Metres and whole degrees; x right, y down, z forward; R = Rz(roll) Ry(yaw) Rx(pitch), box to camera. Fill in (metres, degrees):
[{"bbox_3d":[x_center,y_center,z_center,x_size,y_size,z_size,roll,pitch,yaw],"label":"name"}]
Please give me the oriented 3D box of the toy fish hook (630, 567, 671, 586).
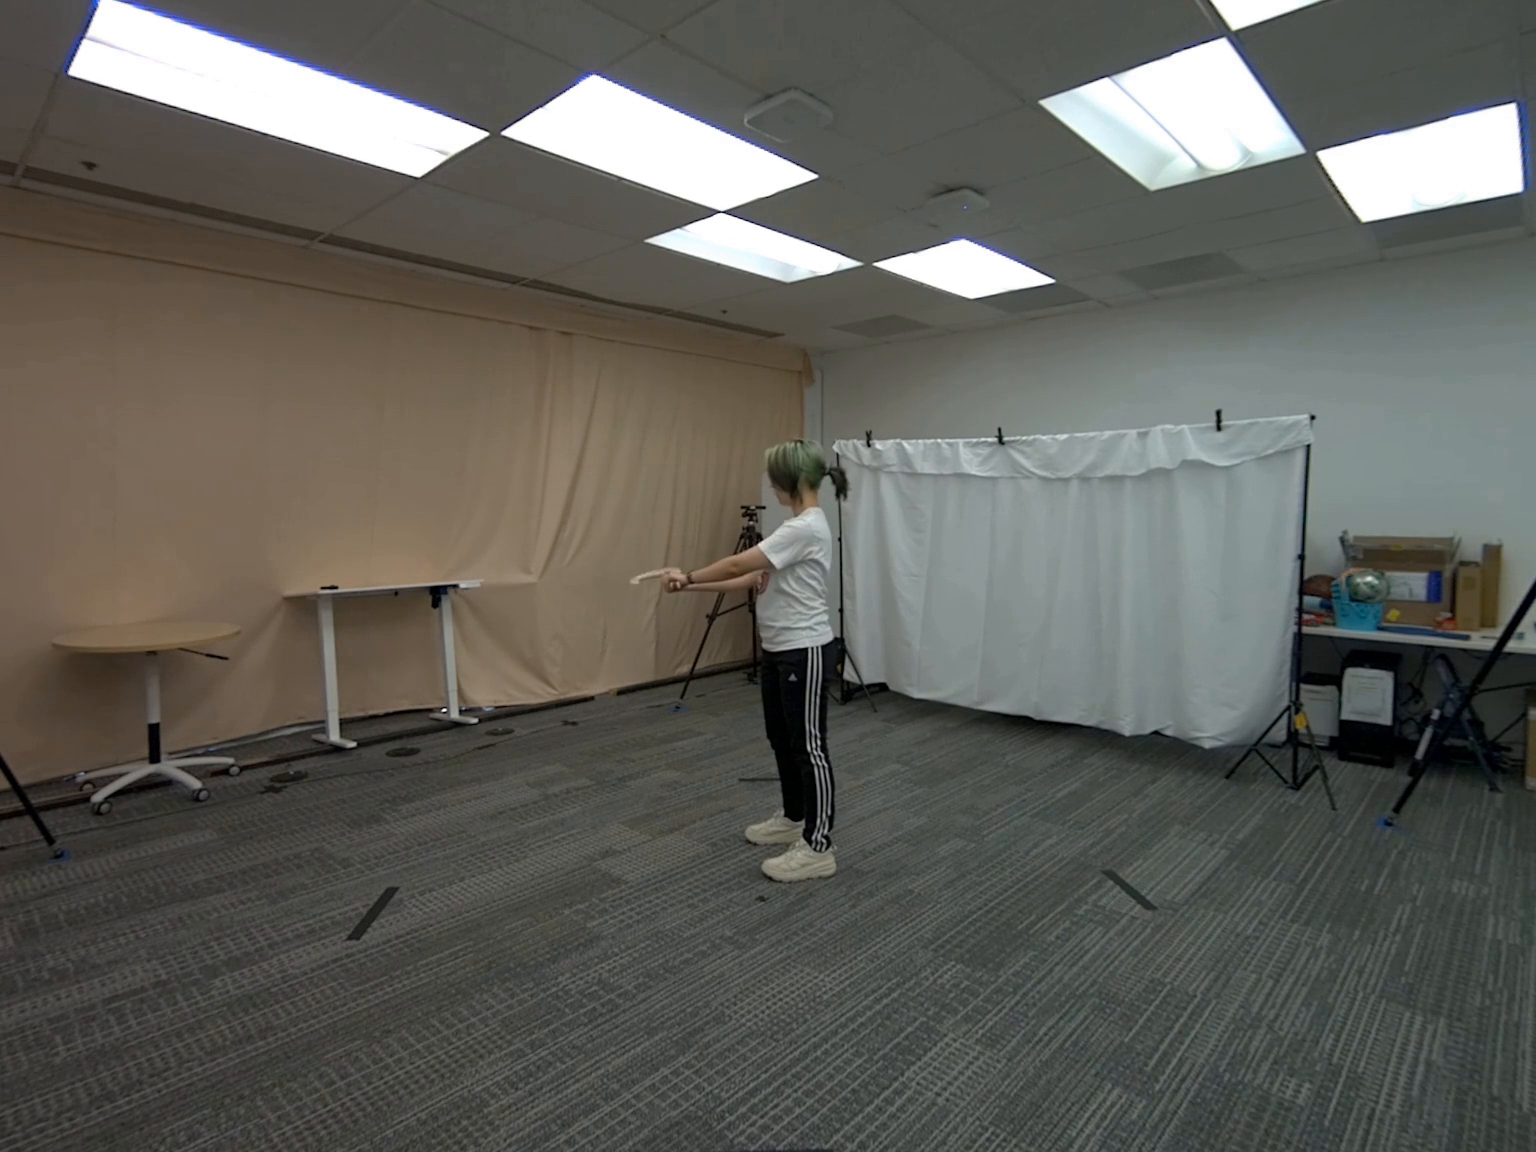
[{"bbox_3d":[-0.456,0.023,3.464,0.222,0.048,0.516,-17,10,-15],"label":"toy fish hook"}]
